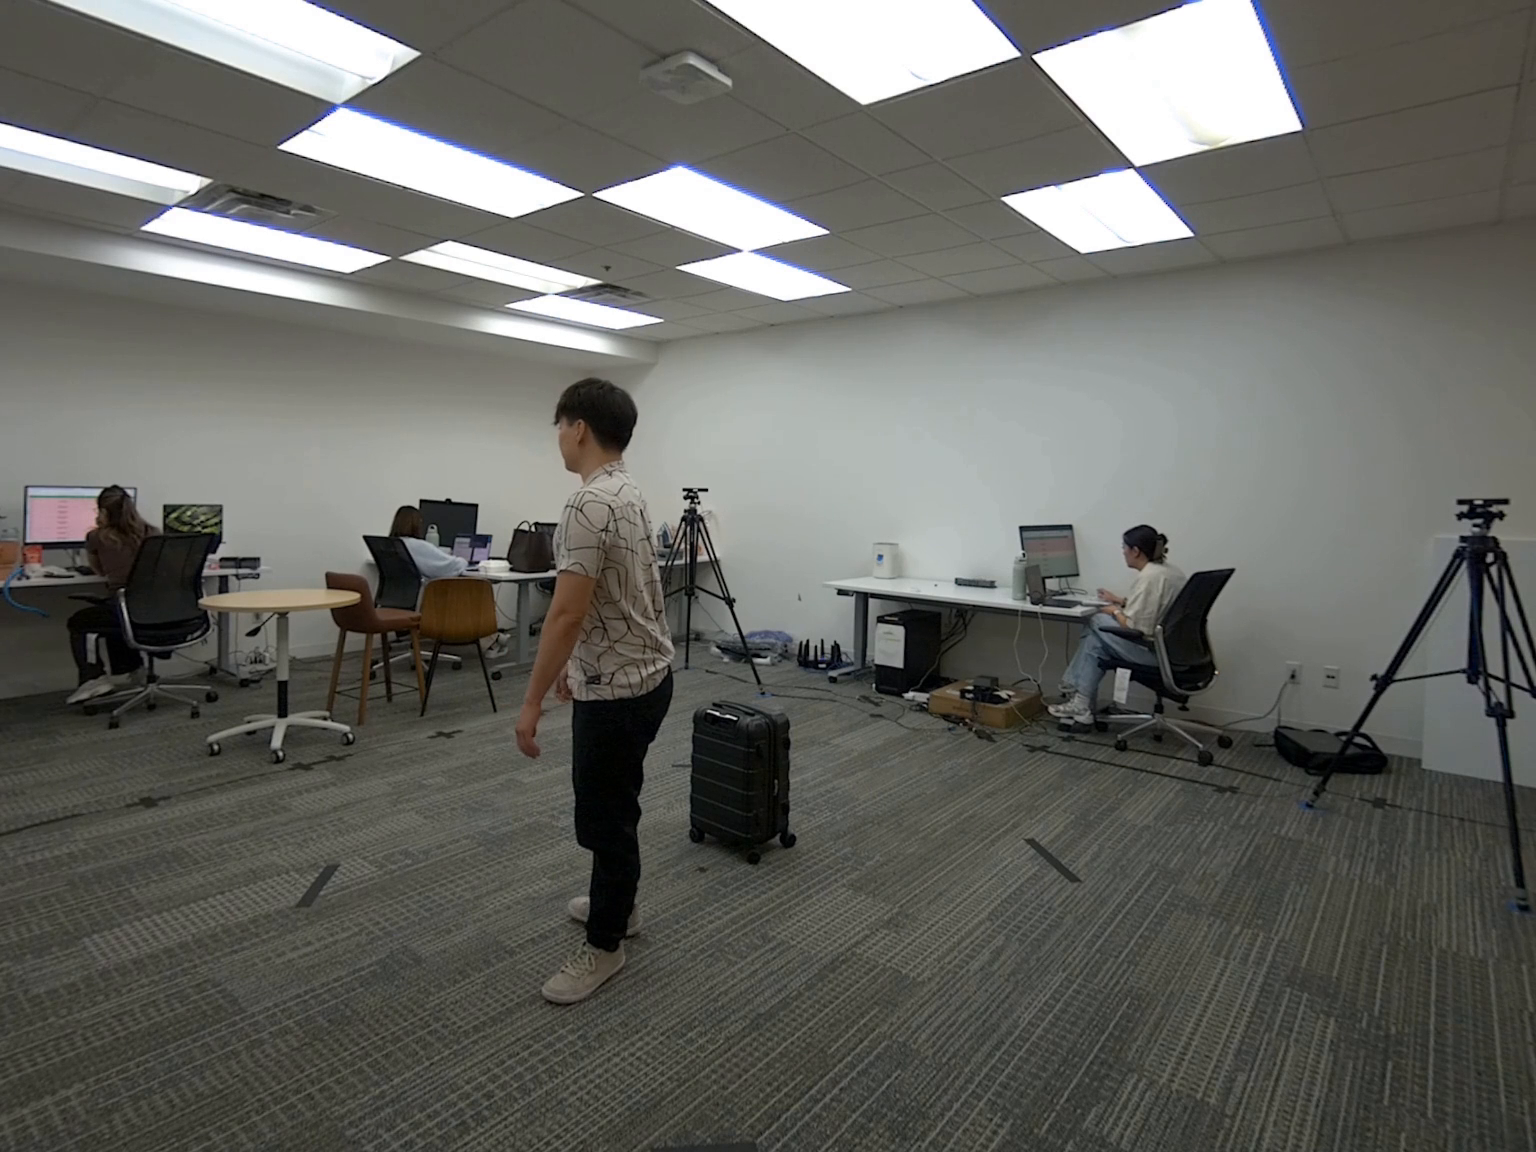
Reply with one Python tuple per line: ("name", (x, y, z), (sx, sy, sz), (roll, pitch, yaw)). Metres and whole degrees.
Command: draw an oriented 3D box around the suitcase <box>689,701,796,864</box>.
("suitcase", (-0.122, 0.772, 3.342), (0.388, 0.548, 0.241), (3, 3, 43))
